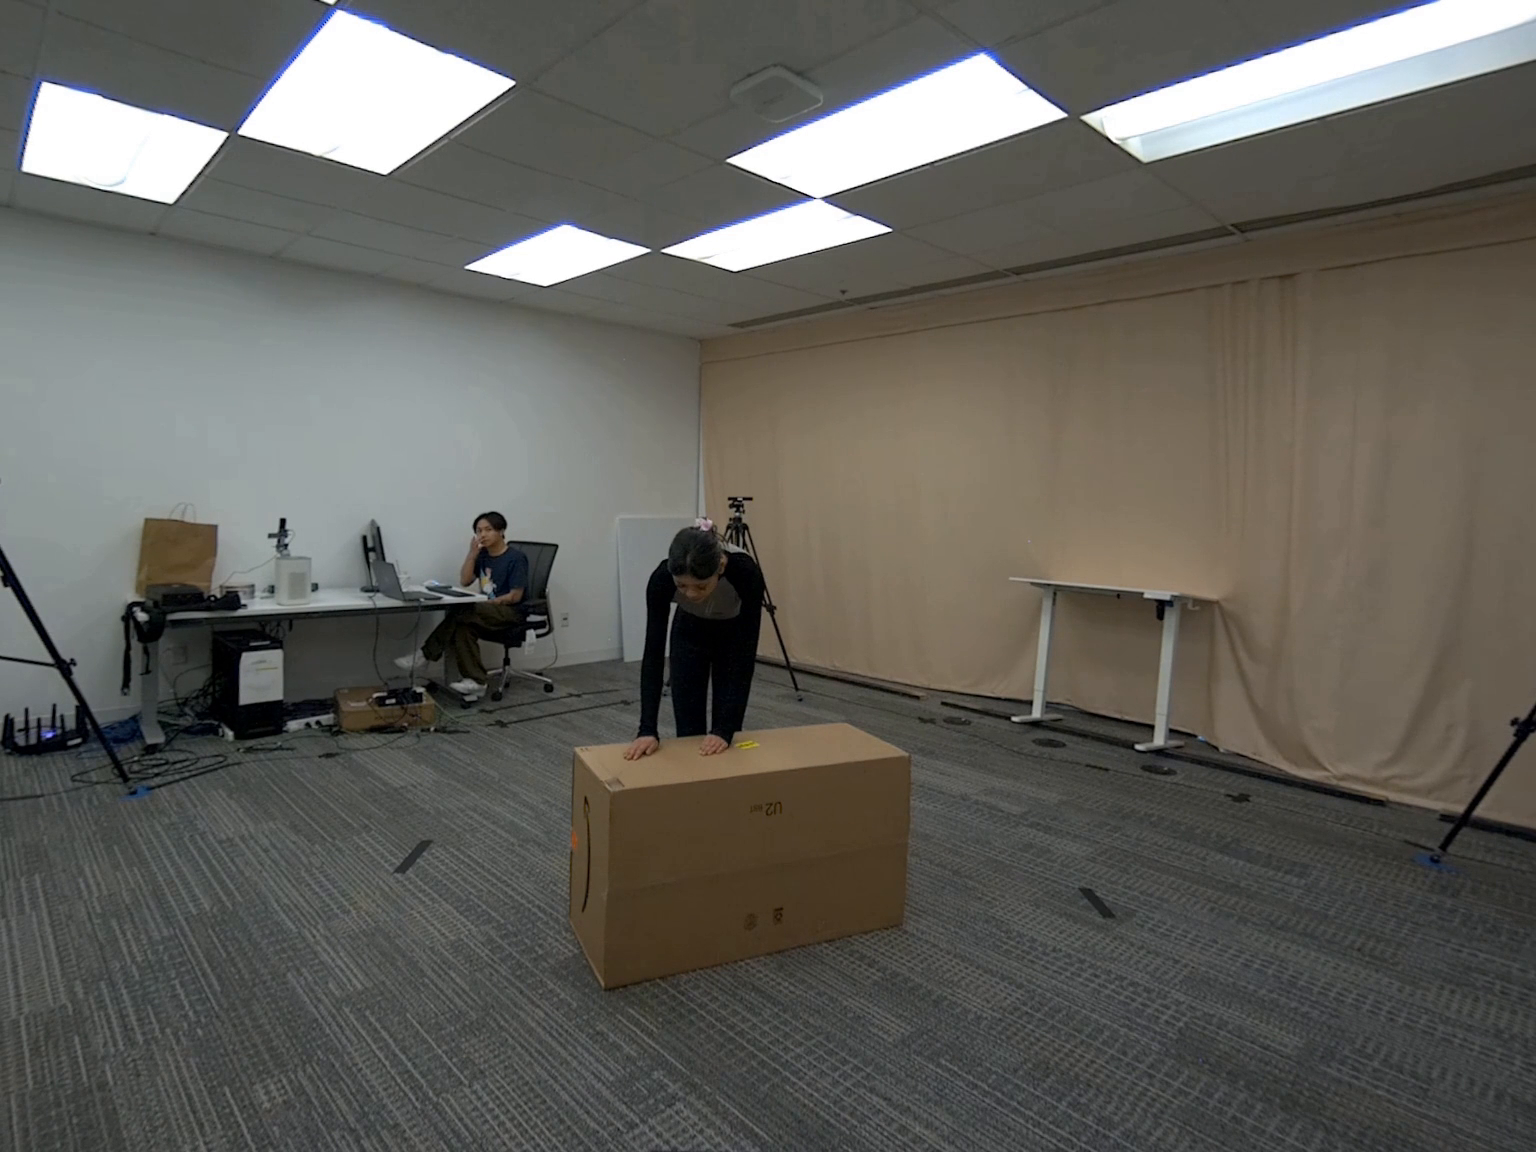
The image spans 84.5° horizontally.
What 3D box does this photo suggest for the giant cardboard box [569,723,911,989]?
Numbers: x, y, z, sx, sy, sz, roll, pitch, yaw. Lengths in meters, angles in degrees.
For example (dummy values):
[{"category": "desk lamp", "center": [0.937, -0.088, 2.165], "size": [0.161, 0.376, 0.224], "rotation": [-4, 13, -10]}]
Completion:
[{"category": "giant cardboard box", "center": [-0.092, 0.853, 2.741], "size": [1.008, 0.576, 0.435], "rotation": [0, 4, -24]}]
